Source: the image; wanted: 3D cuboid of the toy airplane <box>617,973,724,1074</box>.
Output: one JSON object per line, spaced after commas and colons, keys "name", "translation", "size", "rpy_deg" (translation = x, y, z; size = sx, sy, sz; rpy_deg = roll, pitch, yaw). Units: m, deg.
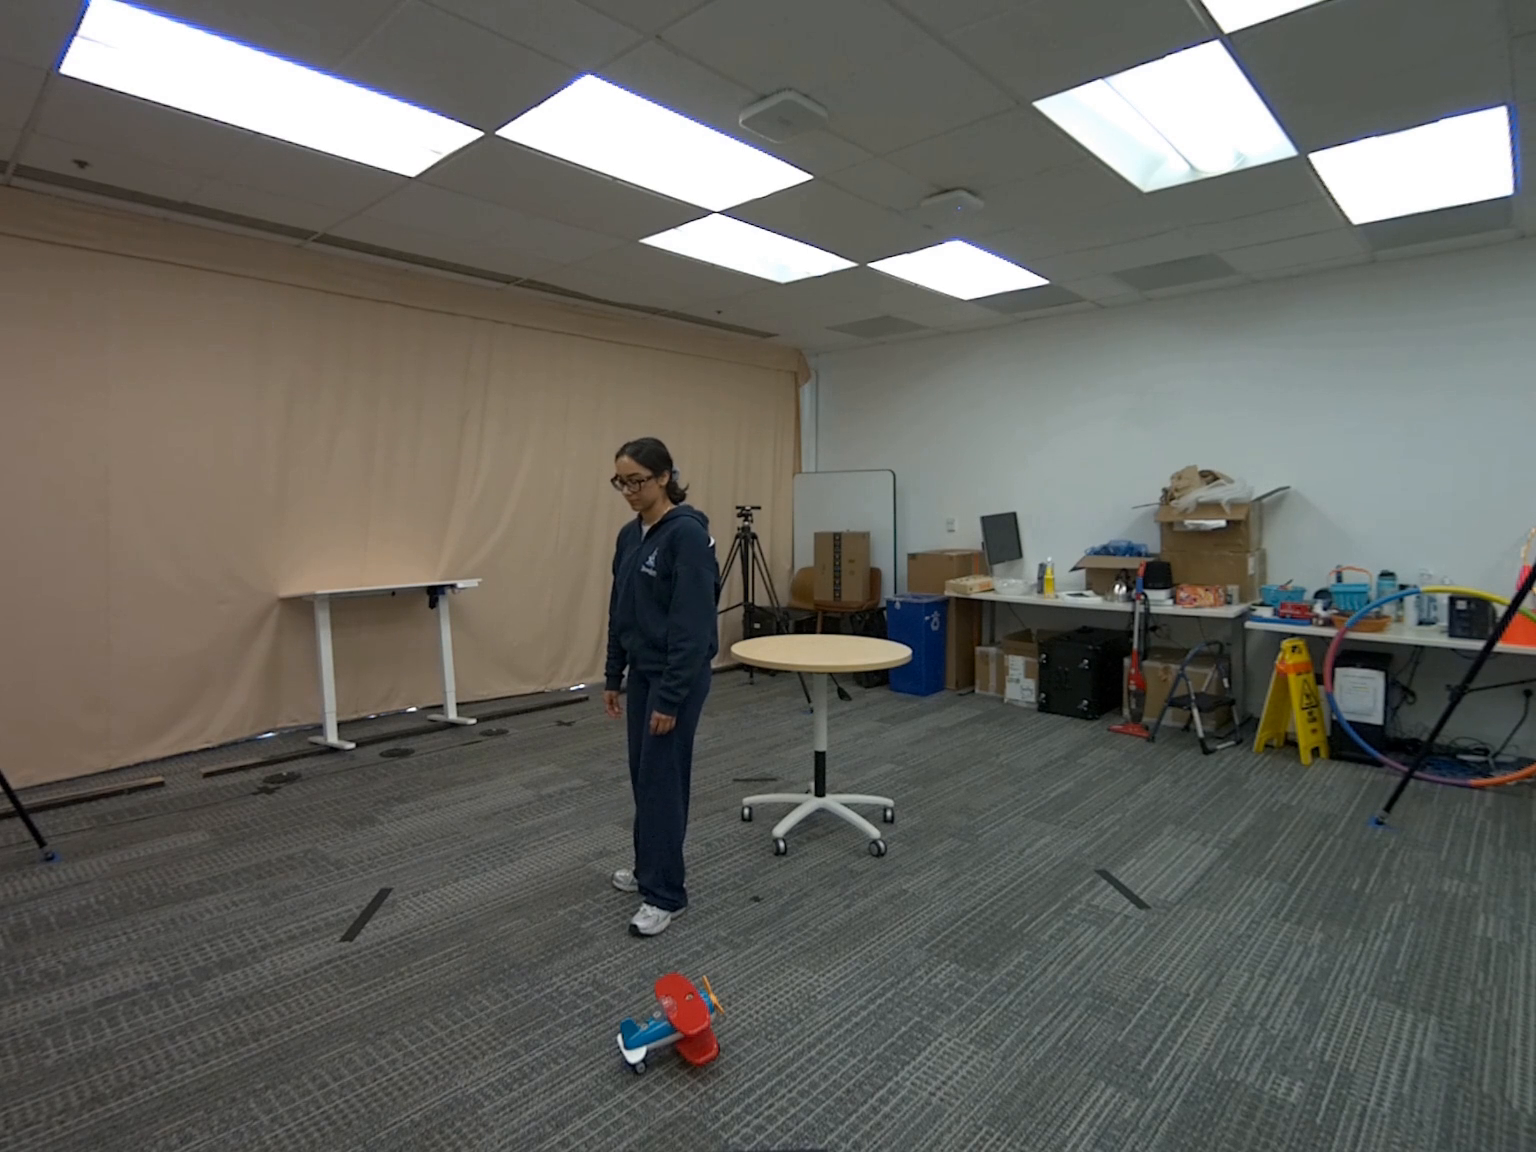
{"name": "toy airplane", "translation": [-0.217, 1.148, 2.101], "size": [0.259, 0.156, 0.251], "rpy_deg": [2, 4, 38]}
